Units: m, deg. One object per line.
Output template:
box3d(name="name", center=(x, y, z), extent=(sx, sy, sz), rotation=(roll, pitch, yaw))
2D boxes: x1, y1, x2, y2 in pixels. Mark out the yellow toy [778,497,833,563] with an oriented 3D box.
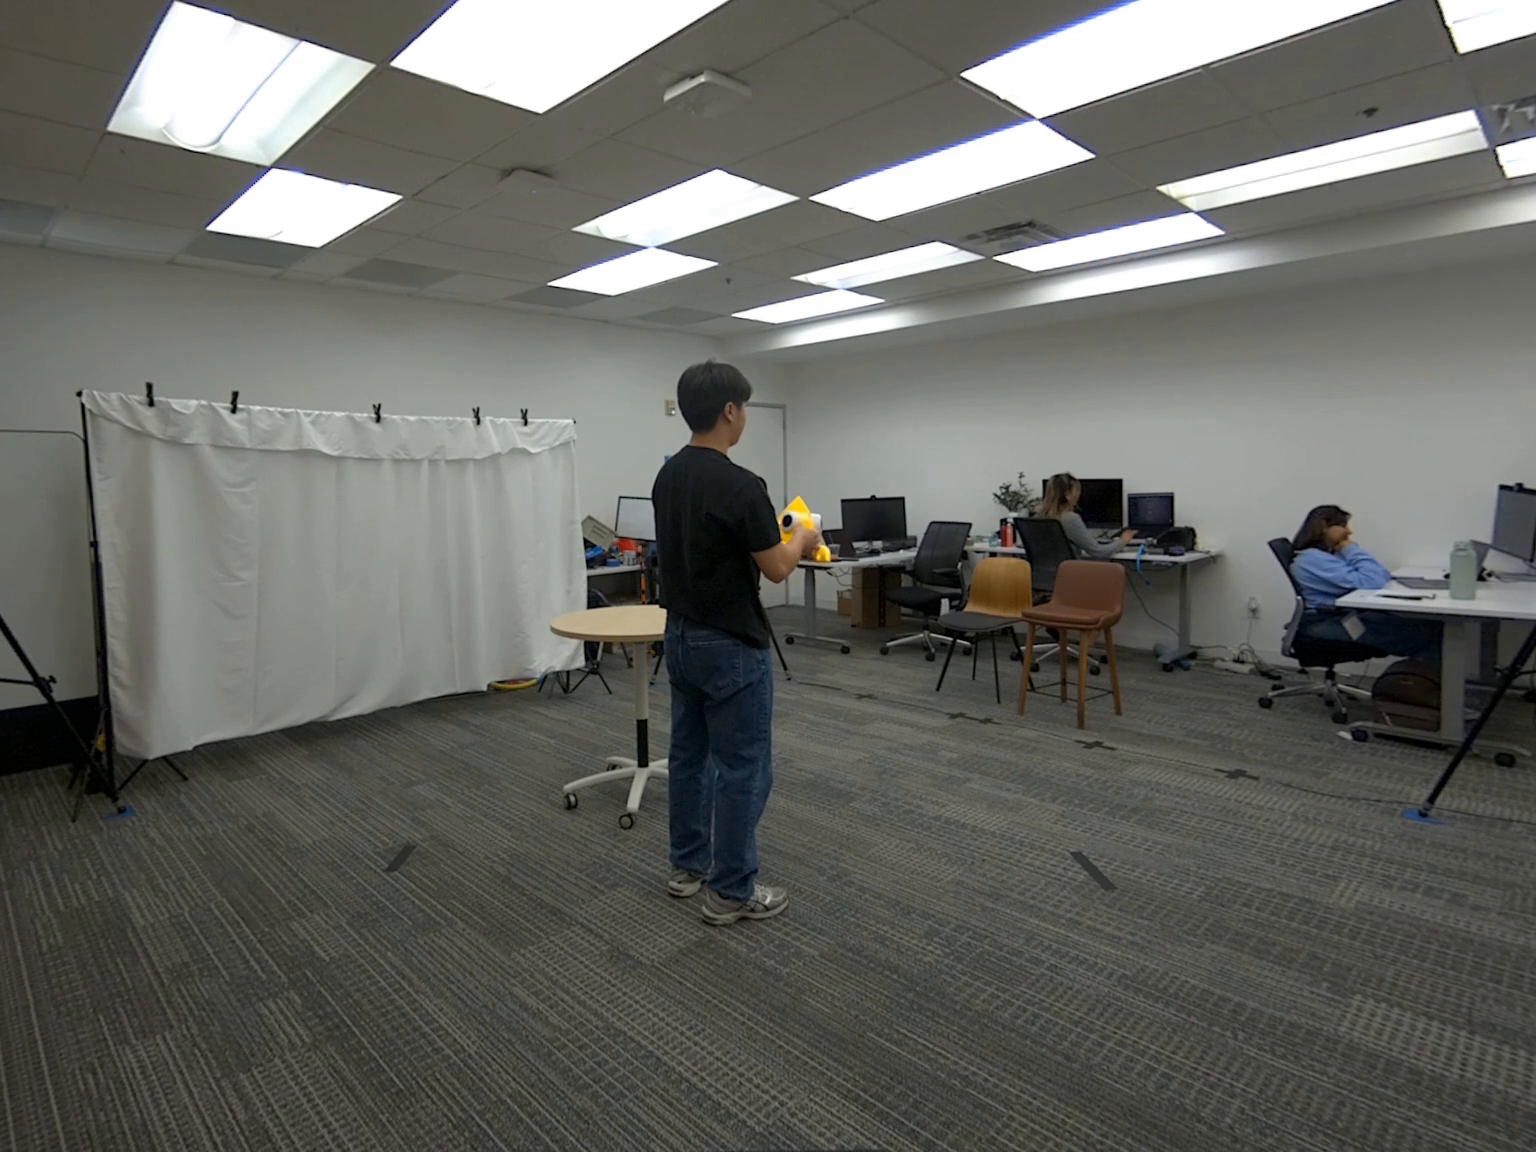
box3d(name="yellow toy", center=(0.122, -0.177, 2.987), extent=(0.201, 0.231, 0.196), rotation=(6, -4, -19))
